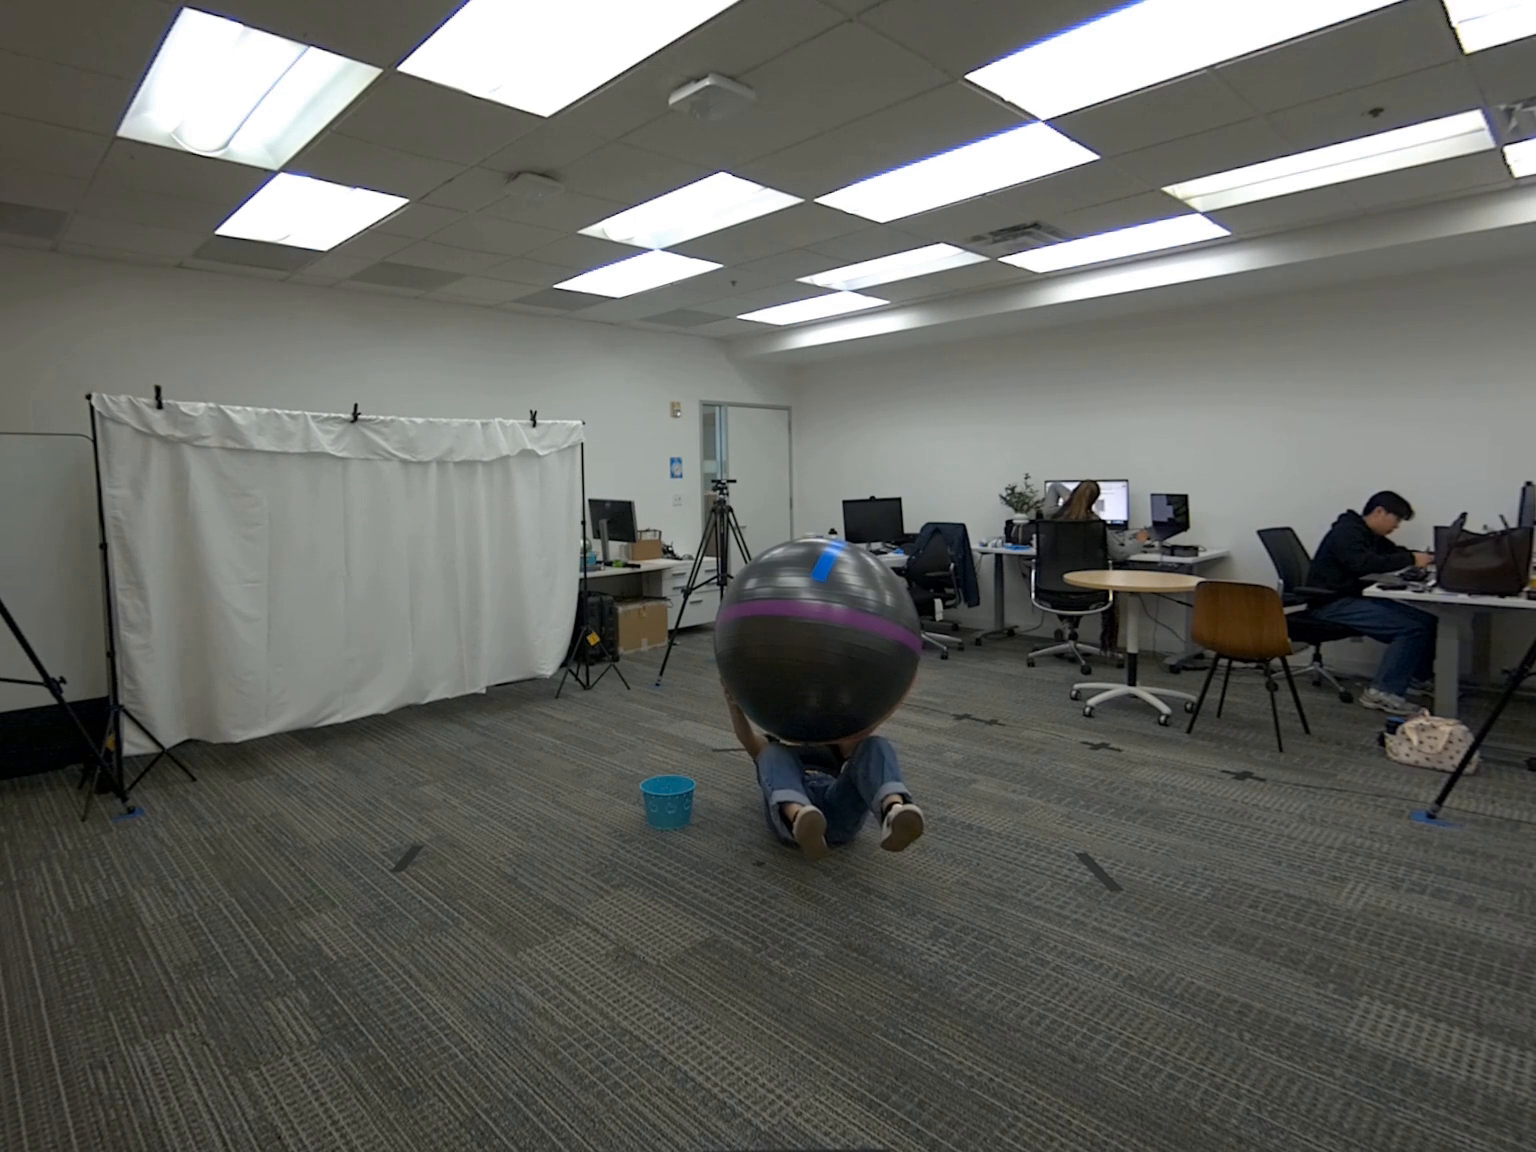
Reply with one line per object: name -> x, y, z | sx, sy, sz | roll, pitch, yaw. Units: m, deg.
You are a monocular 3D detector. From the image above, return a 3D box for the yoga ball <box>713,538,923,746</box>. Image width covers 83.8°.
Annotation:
yoga ball -> 0.184, 0.247, 3.171 | 0.757, 0.755, 0.762 | -1, 5, -2
